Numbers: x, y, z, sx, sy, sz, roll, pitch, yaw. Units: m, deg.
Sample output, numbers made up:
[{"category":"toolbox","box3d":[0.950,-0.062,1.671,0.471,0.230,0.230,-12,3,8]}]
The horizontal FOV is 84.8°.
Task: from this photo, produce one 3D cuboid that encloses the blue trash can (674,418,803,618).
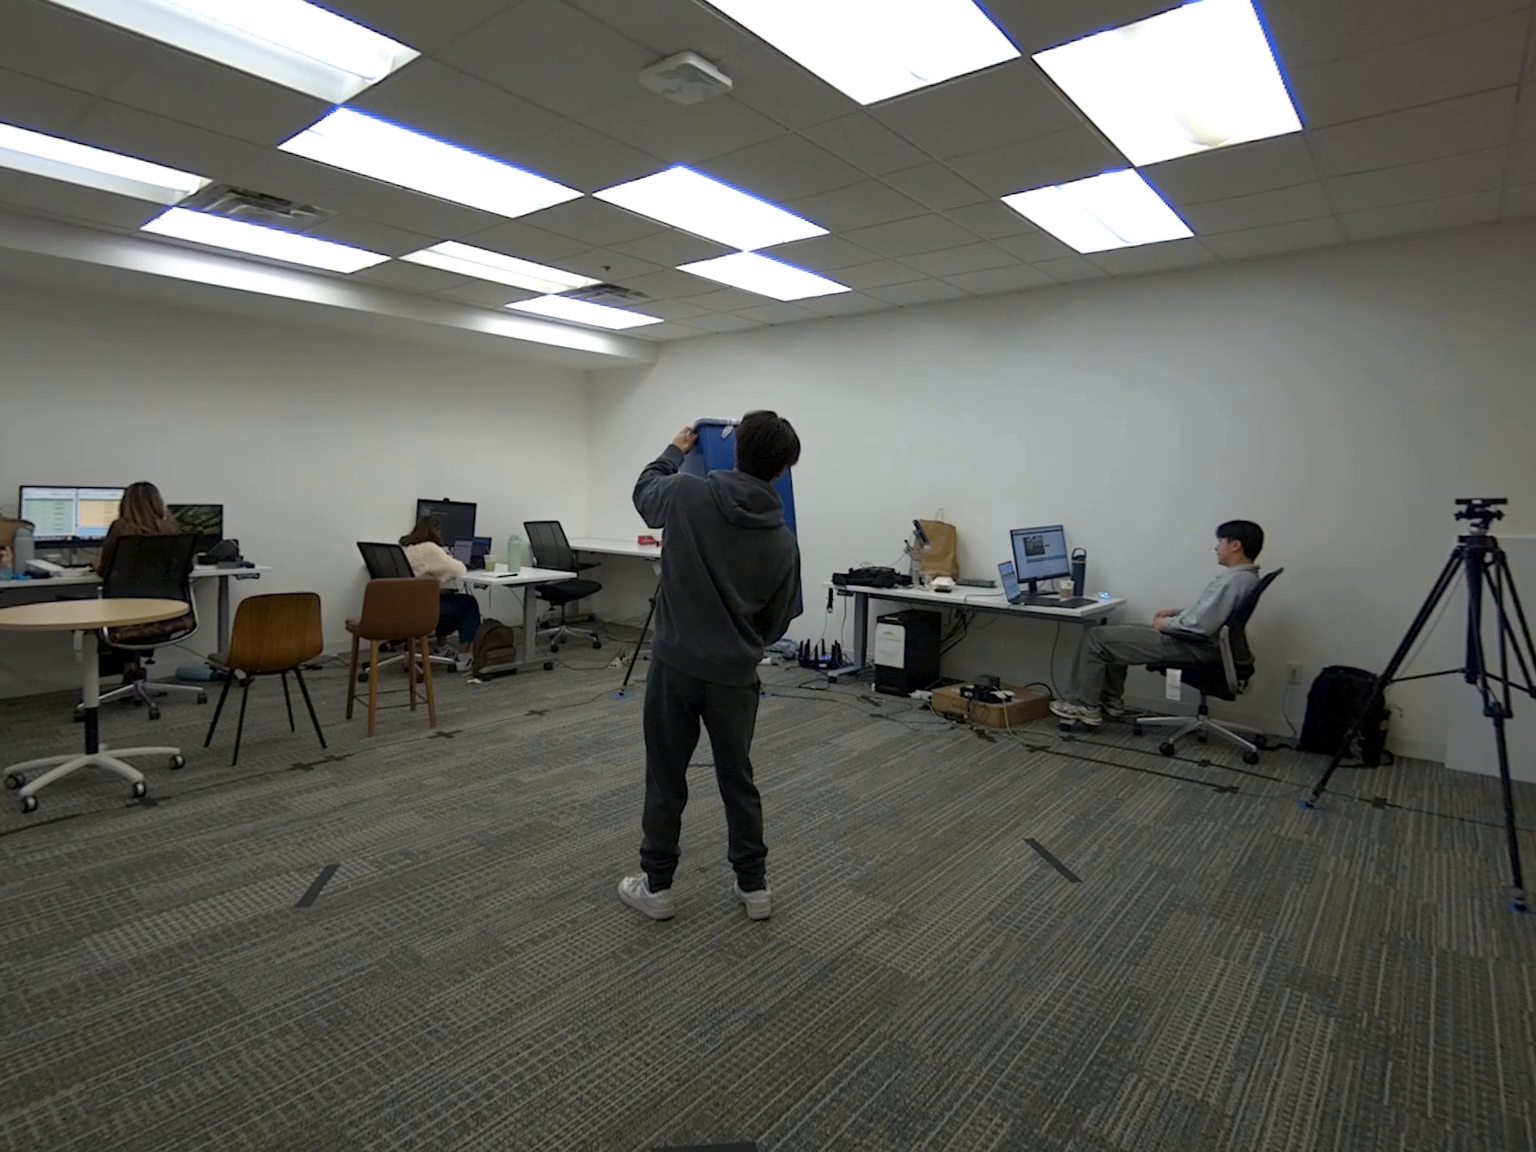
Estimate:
[{"category":"blue trash can","box3d":[-0.110,-0.187,3.146,0.371,0.725,0.375,0,-16,-19]}]
